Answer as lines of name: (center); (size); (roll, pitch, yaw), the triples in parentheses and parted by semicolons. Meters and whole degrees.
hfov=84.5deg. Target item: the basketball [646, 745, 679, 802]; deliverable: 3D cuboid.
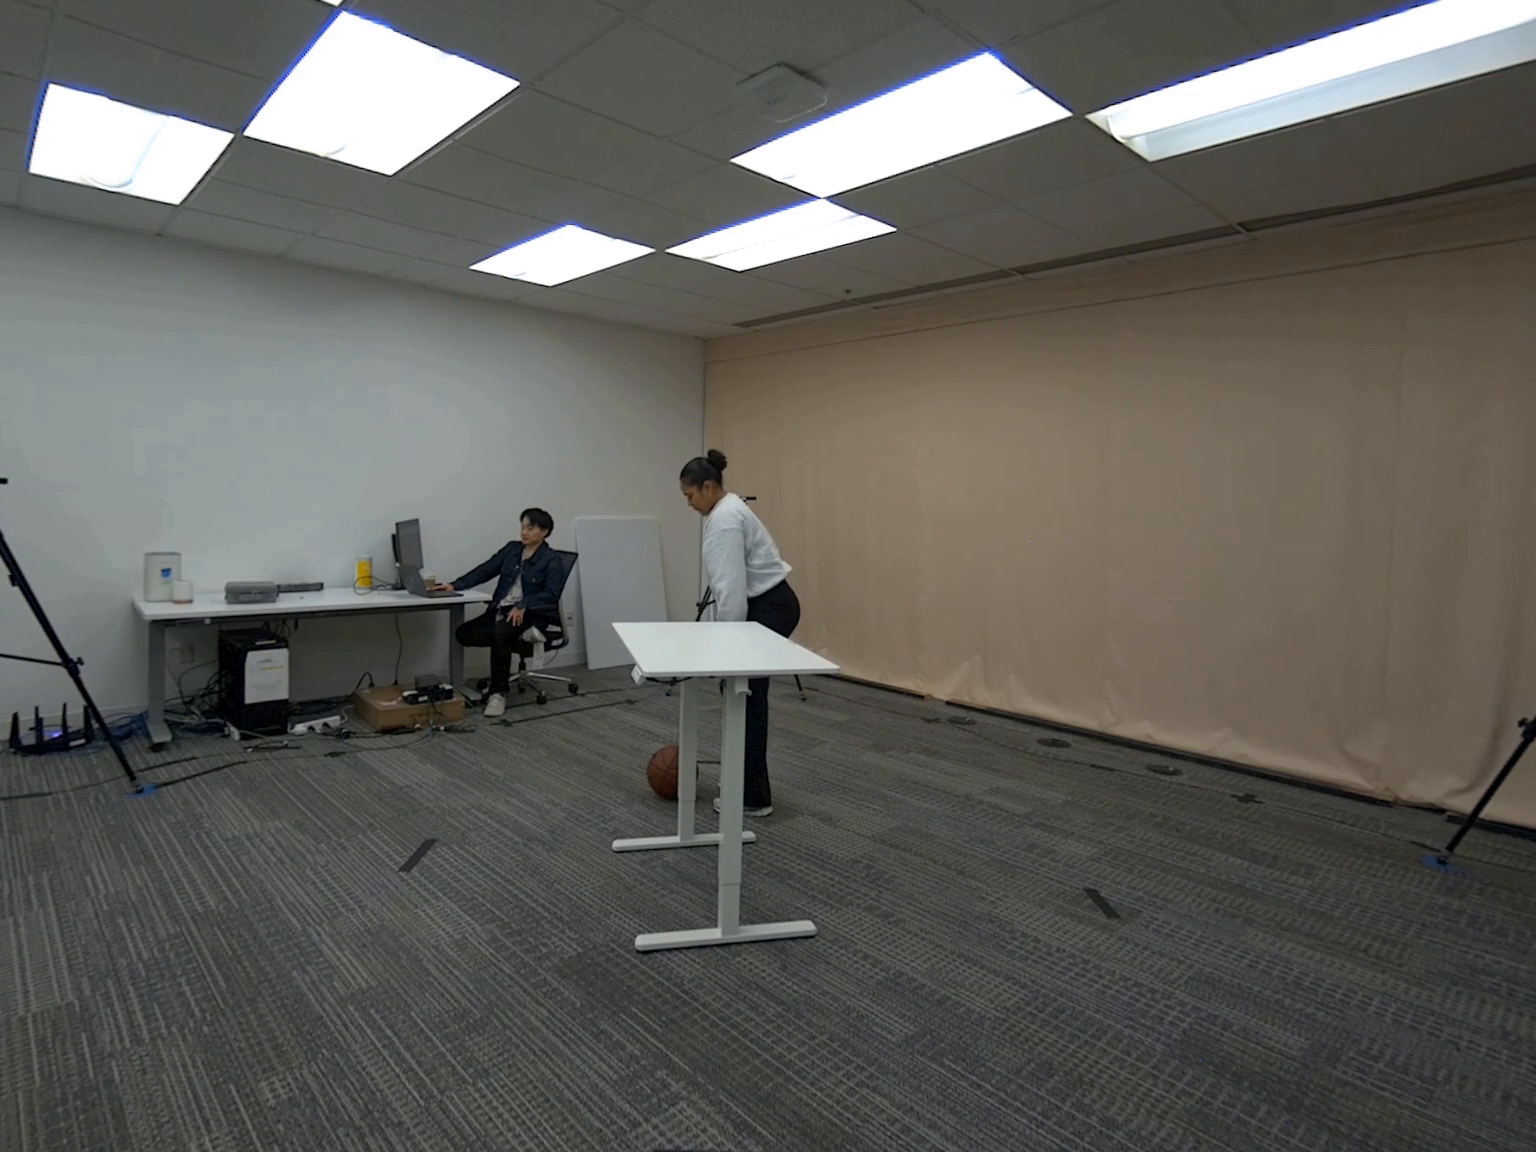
basketball: (-0.447, 0.900, 3.906); (0.236, 0.235, 0.237); (1, 4, -1)
